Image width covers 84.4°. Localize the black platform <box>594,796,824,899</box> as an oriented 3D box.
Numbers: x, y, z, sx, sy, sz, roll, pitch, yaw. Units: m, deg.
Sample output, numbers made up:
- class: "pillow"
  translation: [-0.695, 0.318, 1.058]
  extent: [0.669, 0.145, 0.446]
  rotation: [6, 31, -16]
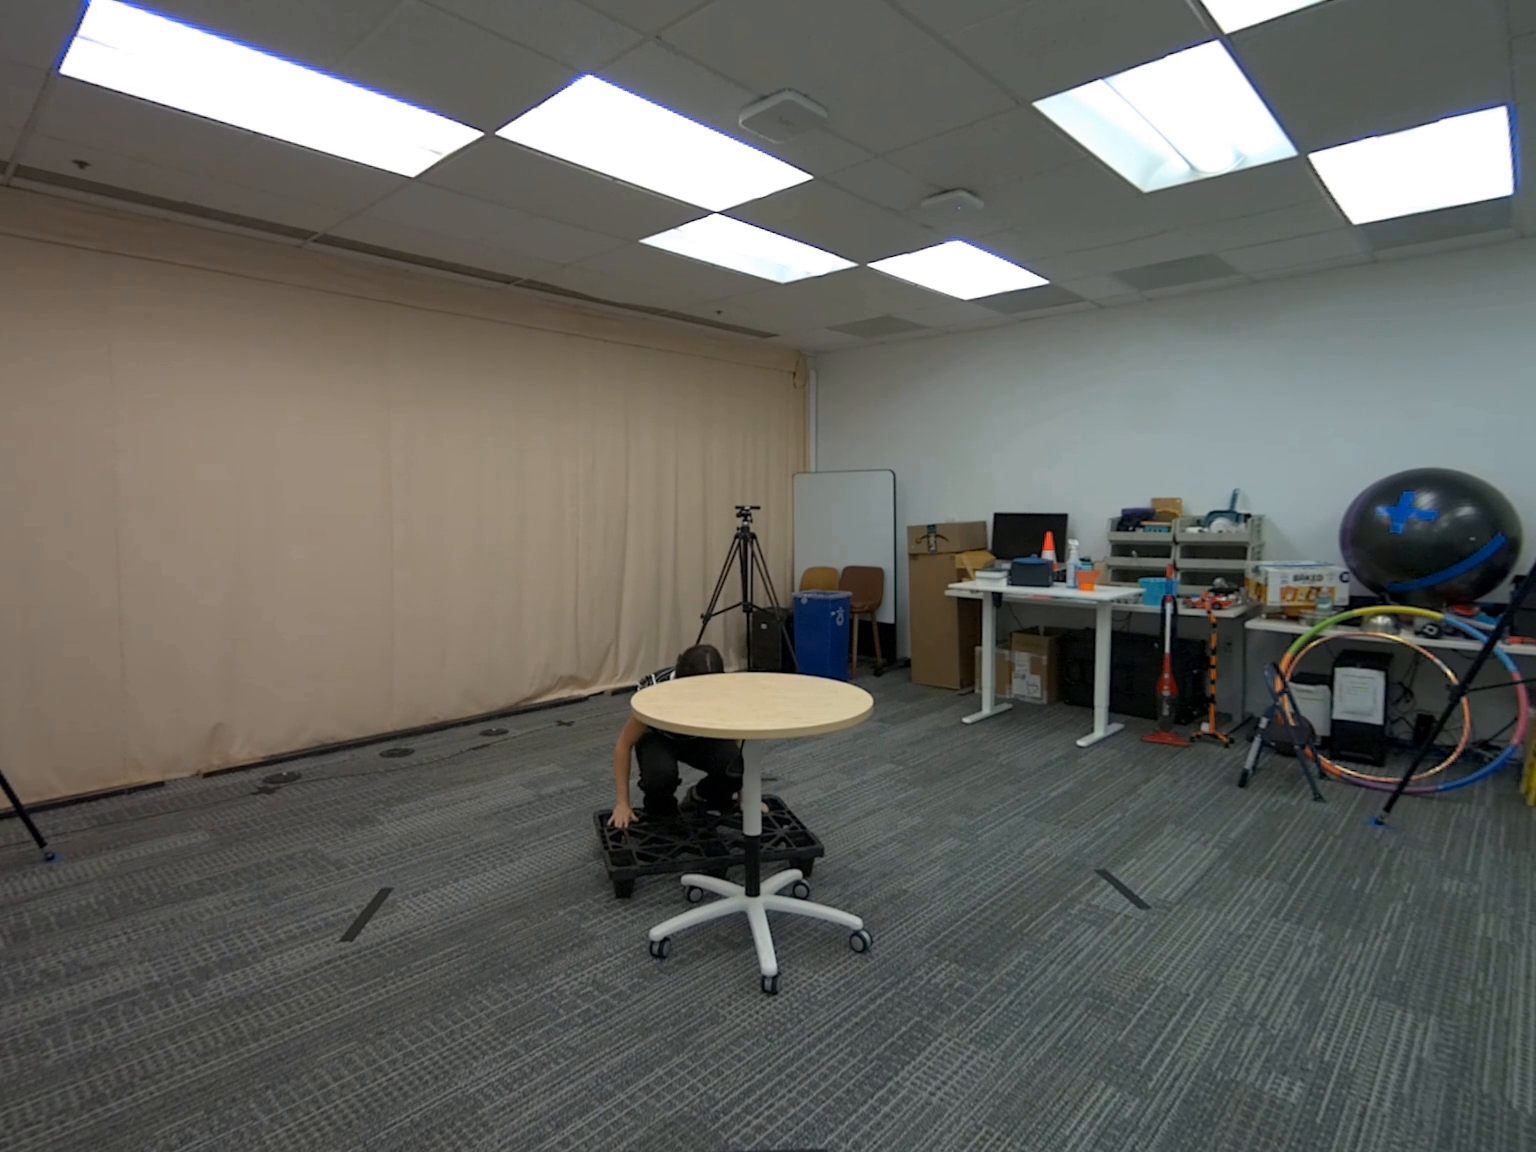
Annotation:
- class: "black platform"
  translation: [-0.249, 1.048, 3.294]
  extent: [0.794, 0.143, 0.616]
  rotation: [-2, 6, -15]
